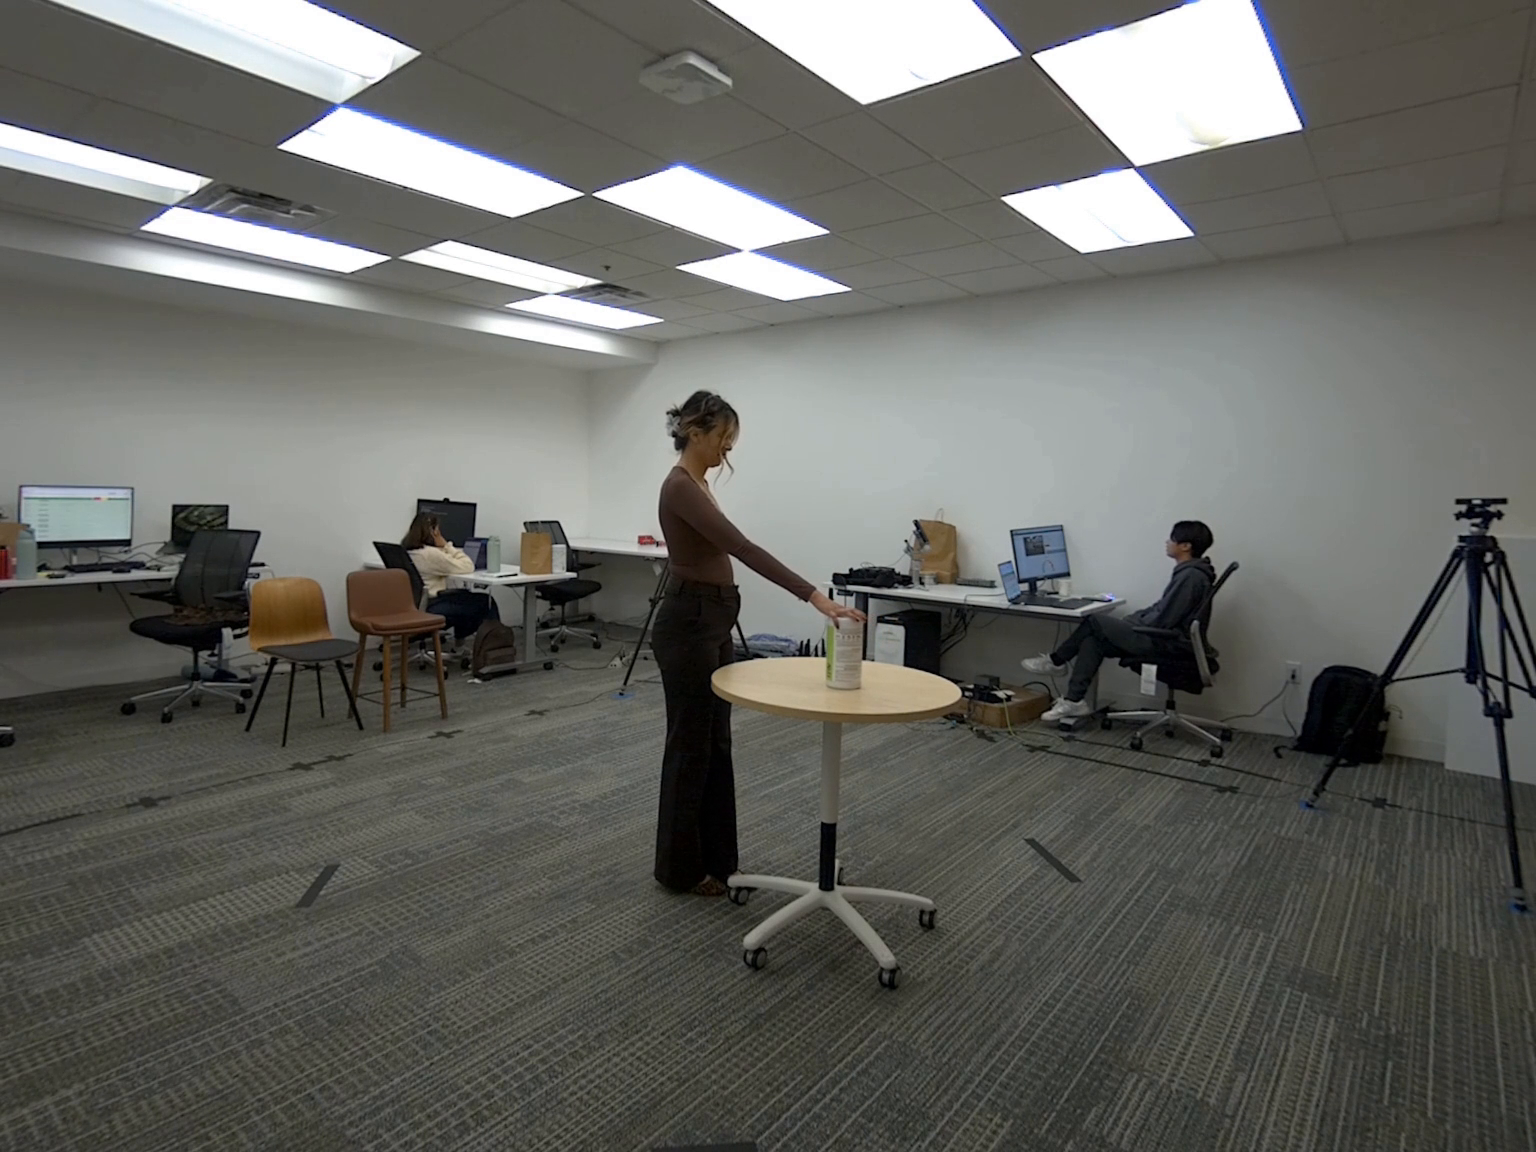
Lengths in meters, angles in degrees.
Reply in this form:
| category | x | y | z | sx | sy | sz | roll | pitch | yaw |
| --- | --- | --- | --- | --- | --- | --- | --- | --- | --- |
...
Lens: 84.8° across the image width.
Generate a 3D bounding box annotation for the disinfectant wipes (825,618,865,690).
| category | x | y | z | sx | sy | sz | roll | pitch | yaw |
| --- | --- | --- | --- | --- | --- | --- | --- | --- | --- |
| disinfectant wipes | 0.229 | 0.228 | 2.585 | 0.118 | 0.217 | 0.118 | -3 | 2 | -2 |
